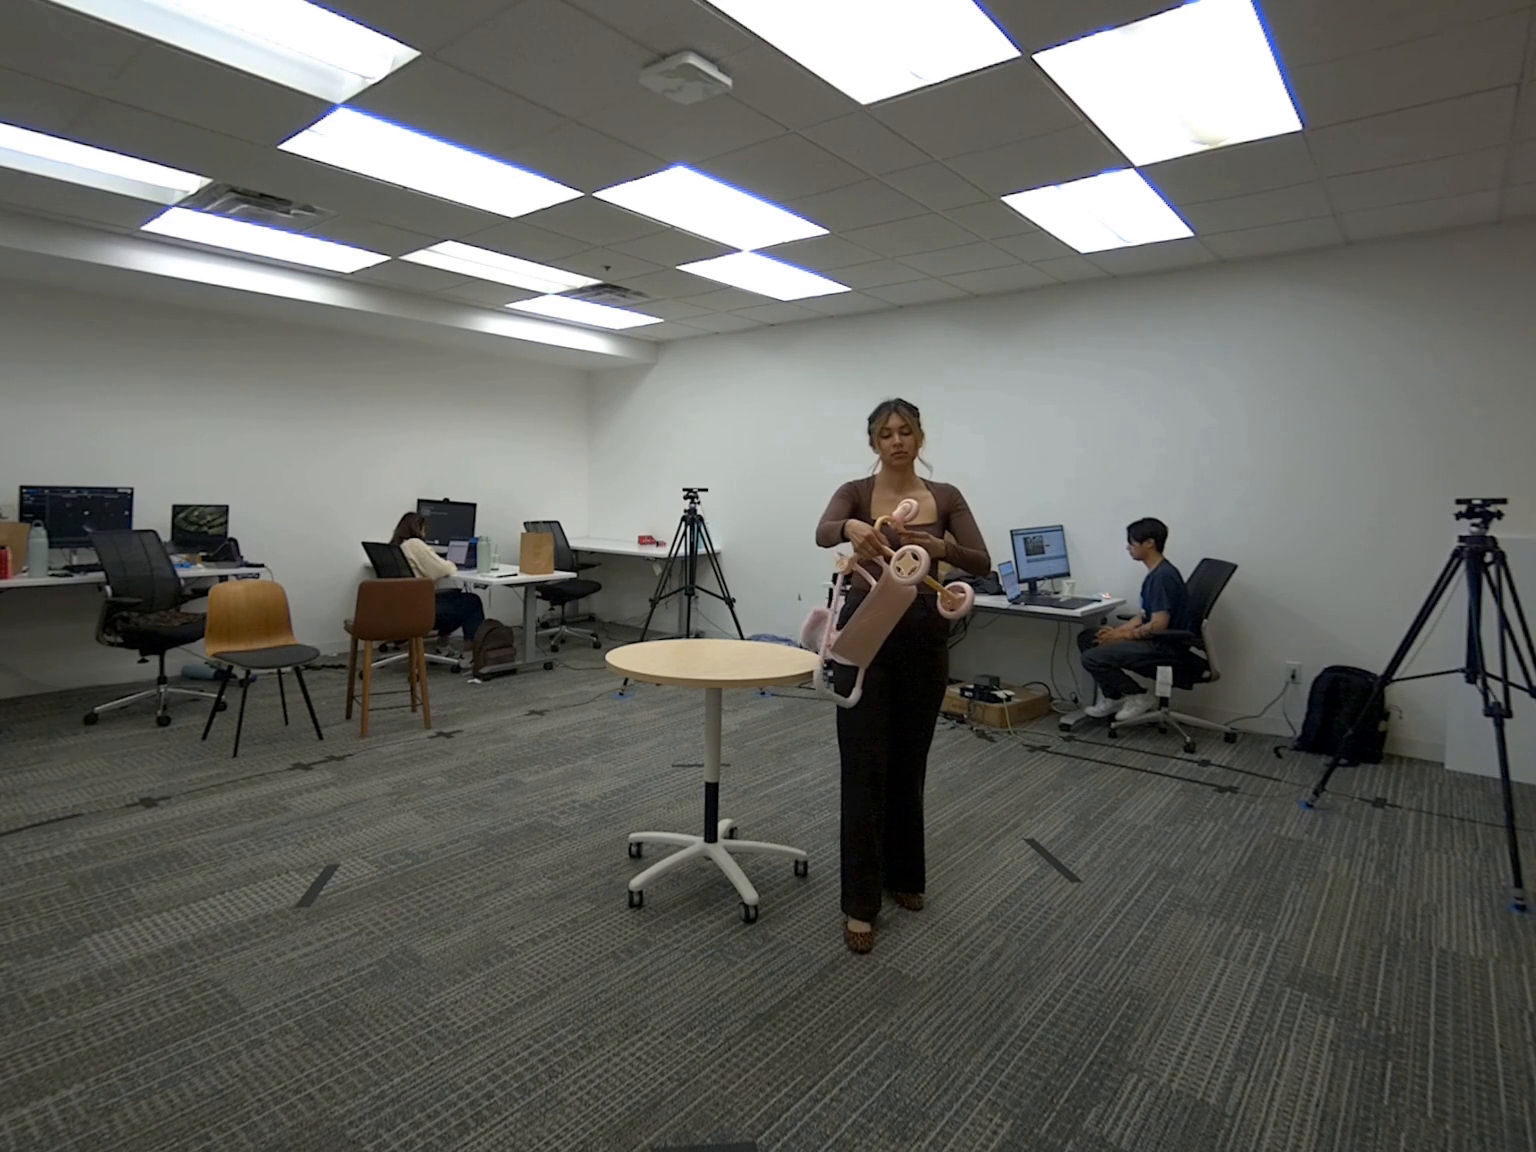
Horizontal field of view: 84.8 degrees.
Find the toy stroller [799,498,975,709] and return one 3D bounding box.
[{"bbox_3d":[0.281,0.057,2.381,0.270,0.535,0.355,28,21,-46],"label":"toy stroller"}]
